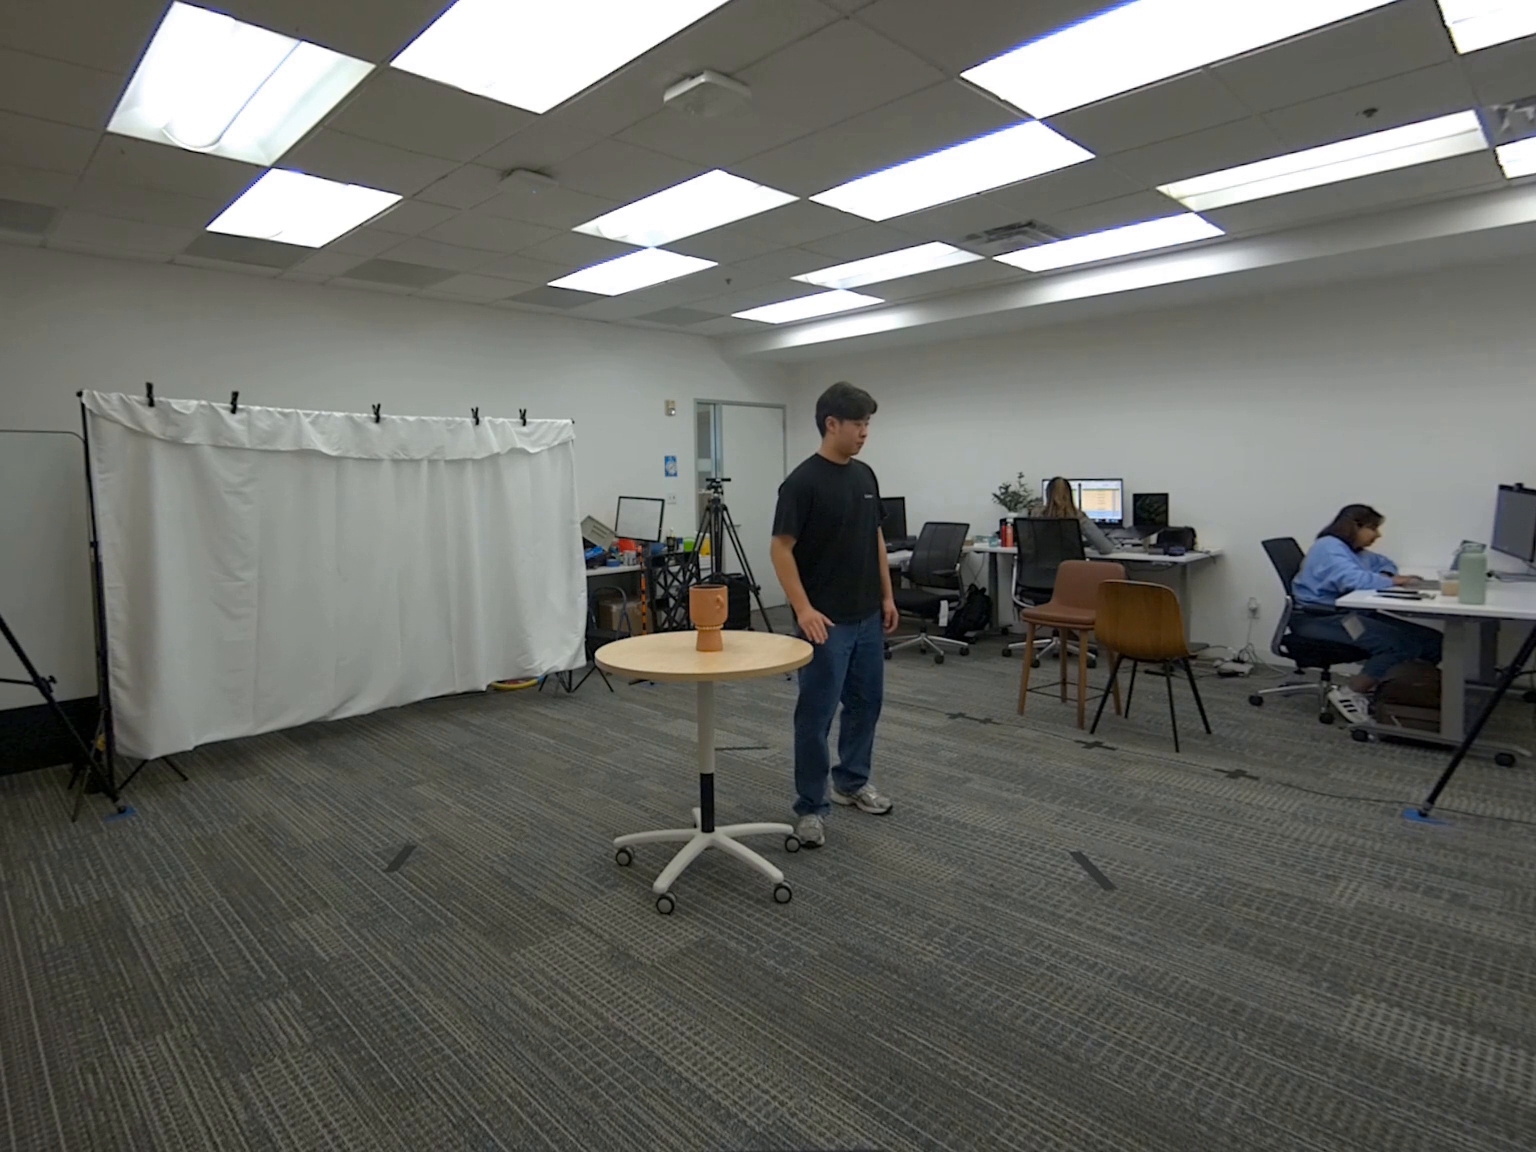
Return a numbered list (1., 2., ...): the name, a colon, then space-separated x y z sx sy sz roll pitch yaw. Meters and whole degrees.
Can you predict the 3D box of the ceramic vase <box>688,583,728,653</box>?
1. ceramic vase: -0.204 0.152 3.007 0.136 0.219 0.158 0 5 8
